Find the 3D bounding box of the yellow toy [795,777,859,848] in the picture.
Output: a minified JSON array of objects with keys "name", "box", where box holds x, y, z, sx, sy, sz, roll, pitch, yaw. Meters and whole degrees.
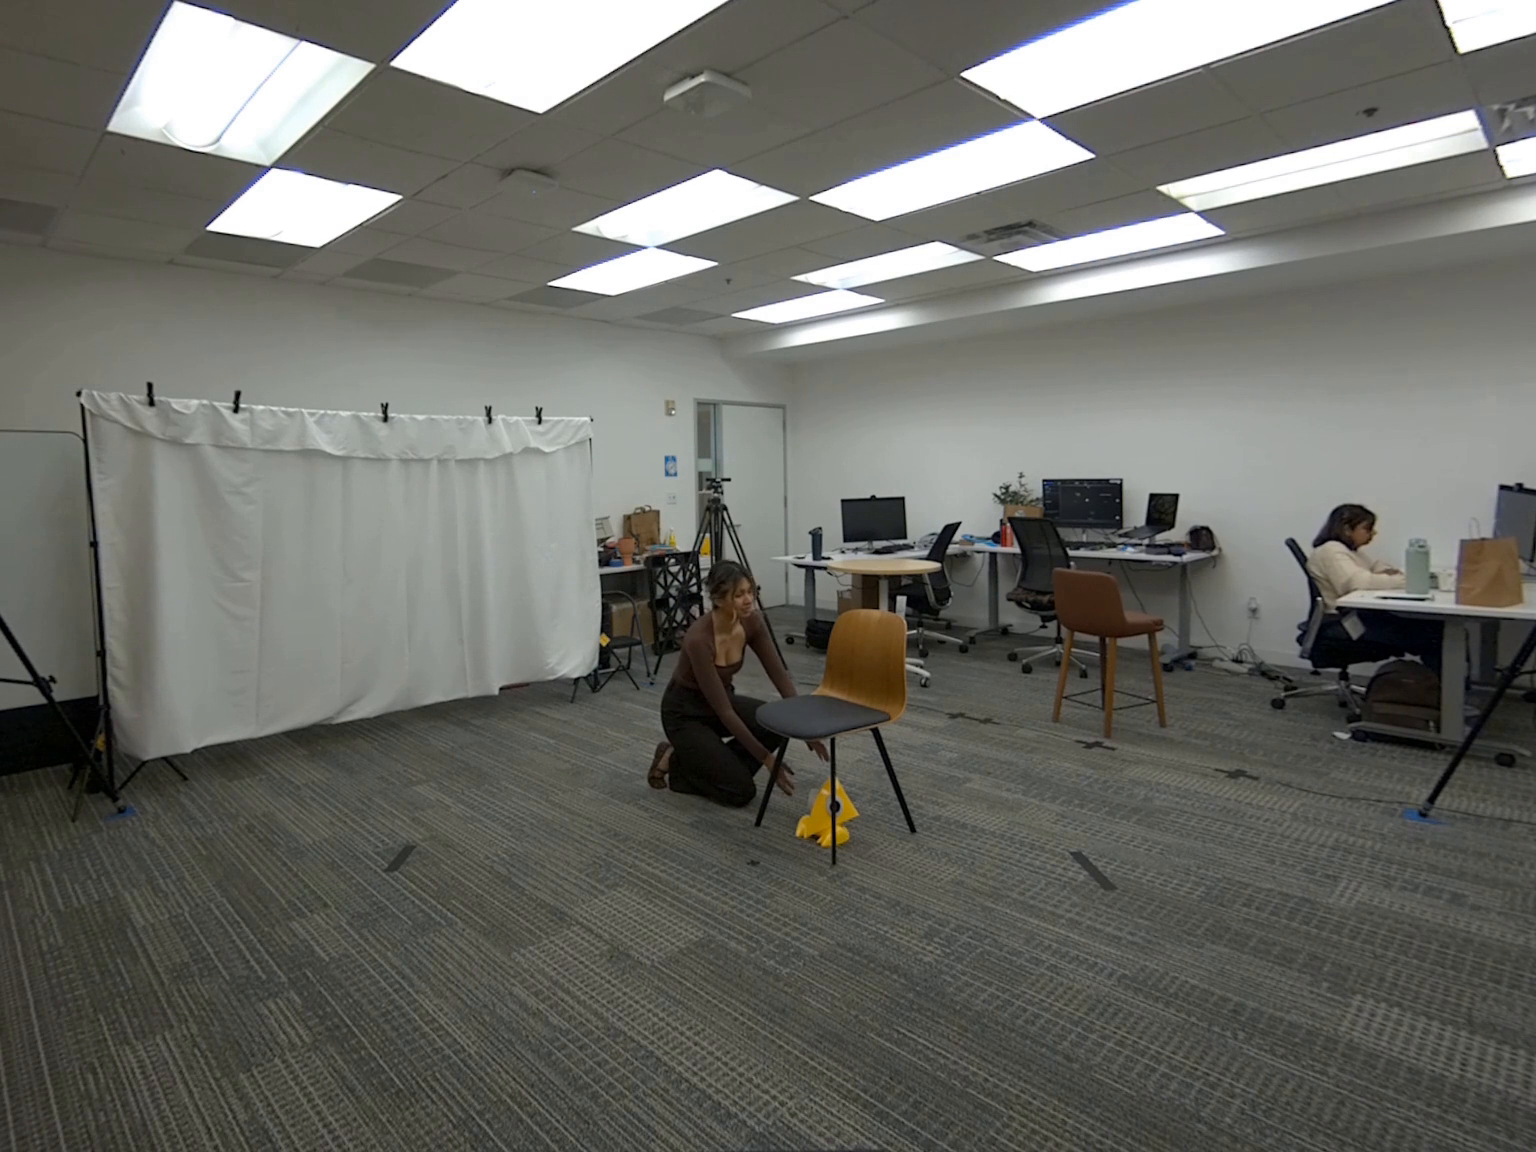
[{"name":"yellow toy","box":[0.225,0.900,3.336,0.188,0.230,0.211,-5,7,-45]}]
